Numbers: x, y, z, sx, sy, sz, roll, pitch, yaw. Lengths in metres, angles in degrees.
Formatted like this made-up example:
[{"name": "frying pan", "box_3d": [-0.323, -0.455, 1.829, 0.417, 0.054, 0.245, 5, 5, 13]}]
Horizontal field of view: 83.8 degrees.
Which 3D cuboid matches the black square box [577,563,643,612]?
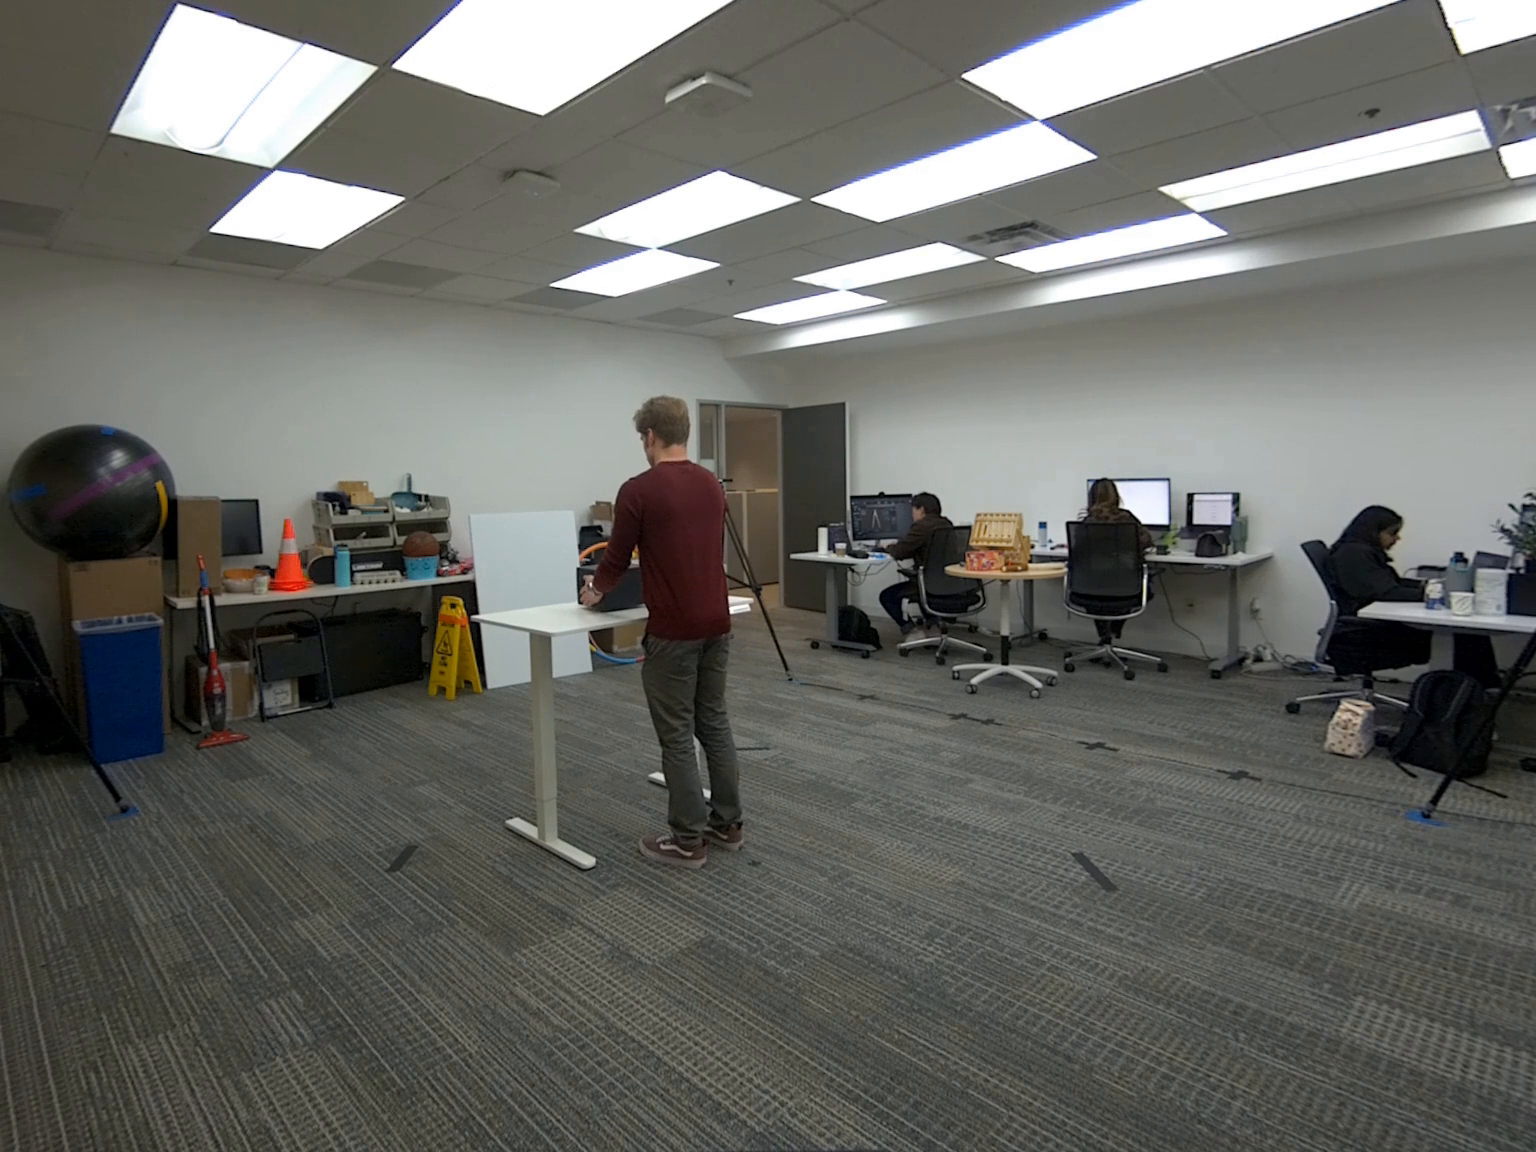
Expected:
[{"name": "black square box", "box_3d": [-0.633, 0.029, 3.508, 0.222, 0.155, 0.224, -7, 9, -39]}]
